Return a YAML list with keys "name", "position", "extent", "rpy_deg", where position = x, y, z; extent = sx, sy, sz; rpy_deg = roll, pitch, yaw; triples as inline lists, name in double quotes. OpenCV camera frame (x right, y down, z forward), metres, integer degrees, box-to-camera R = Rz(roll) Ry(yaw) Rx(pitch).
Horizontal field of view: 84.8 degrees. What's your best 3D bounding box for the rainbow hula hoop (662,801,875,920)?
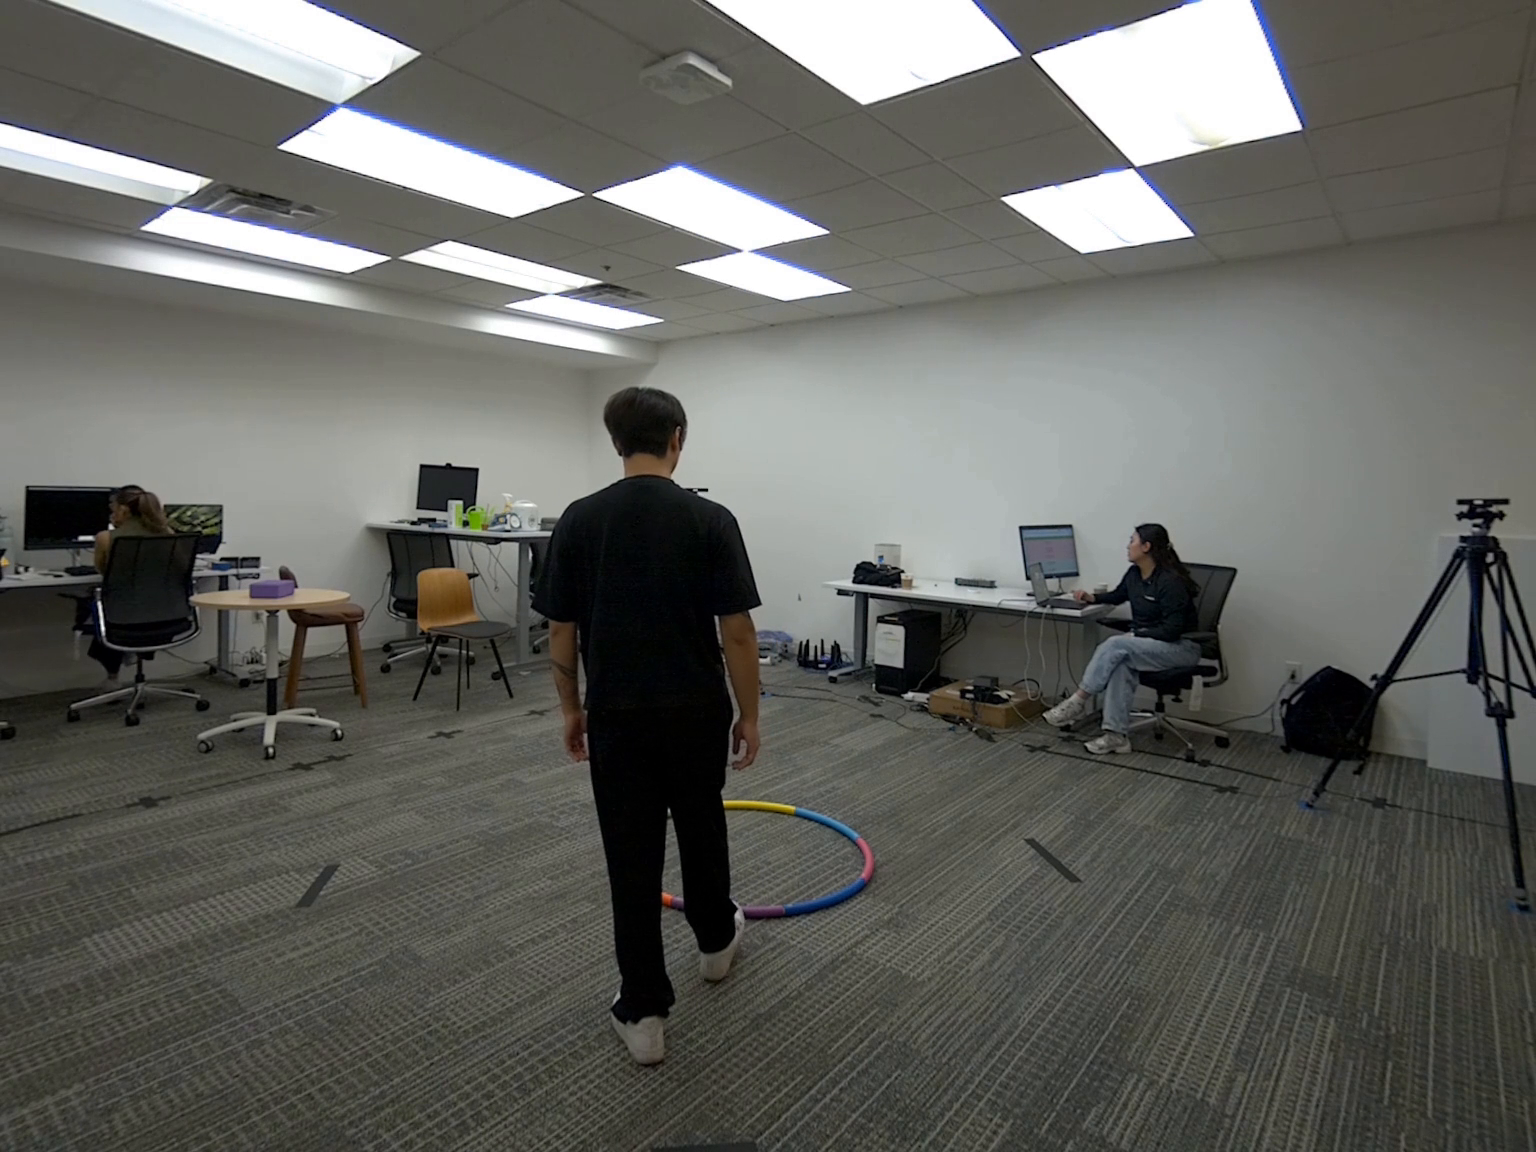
- name: "rainbow hula hoop"
  position: [-0.104, 1.032, 3.234]
  extent: [0.978, 0.035, 0.984]
  rpy_deg: [1, 6, -2]
